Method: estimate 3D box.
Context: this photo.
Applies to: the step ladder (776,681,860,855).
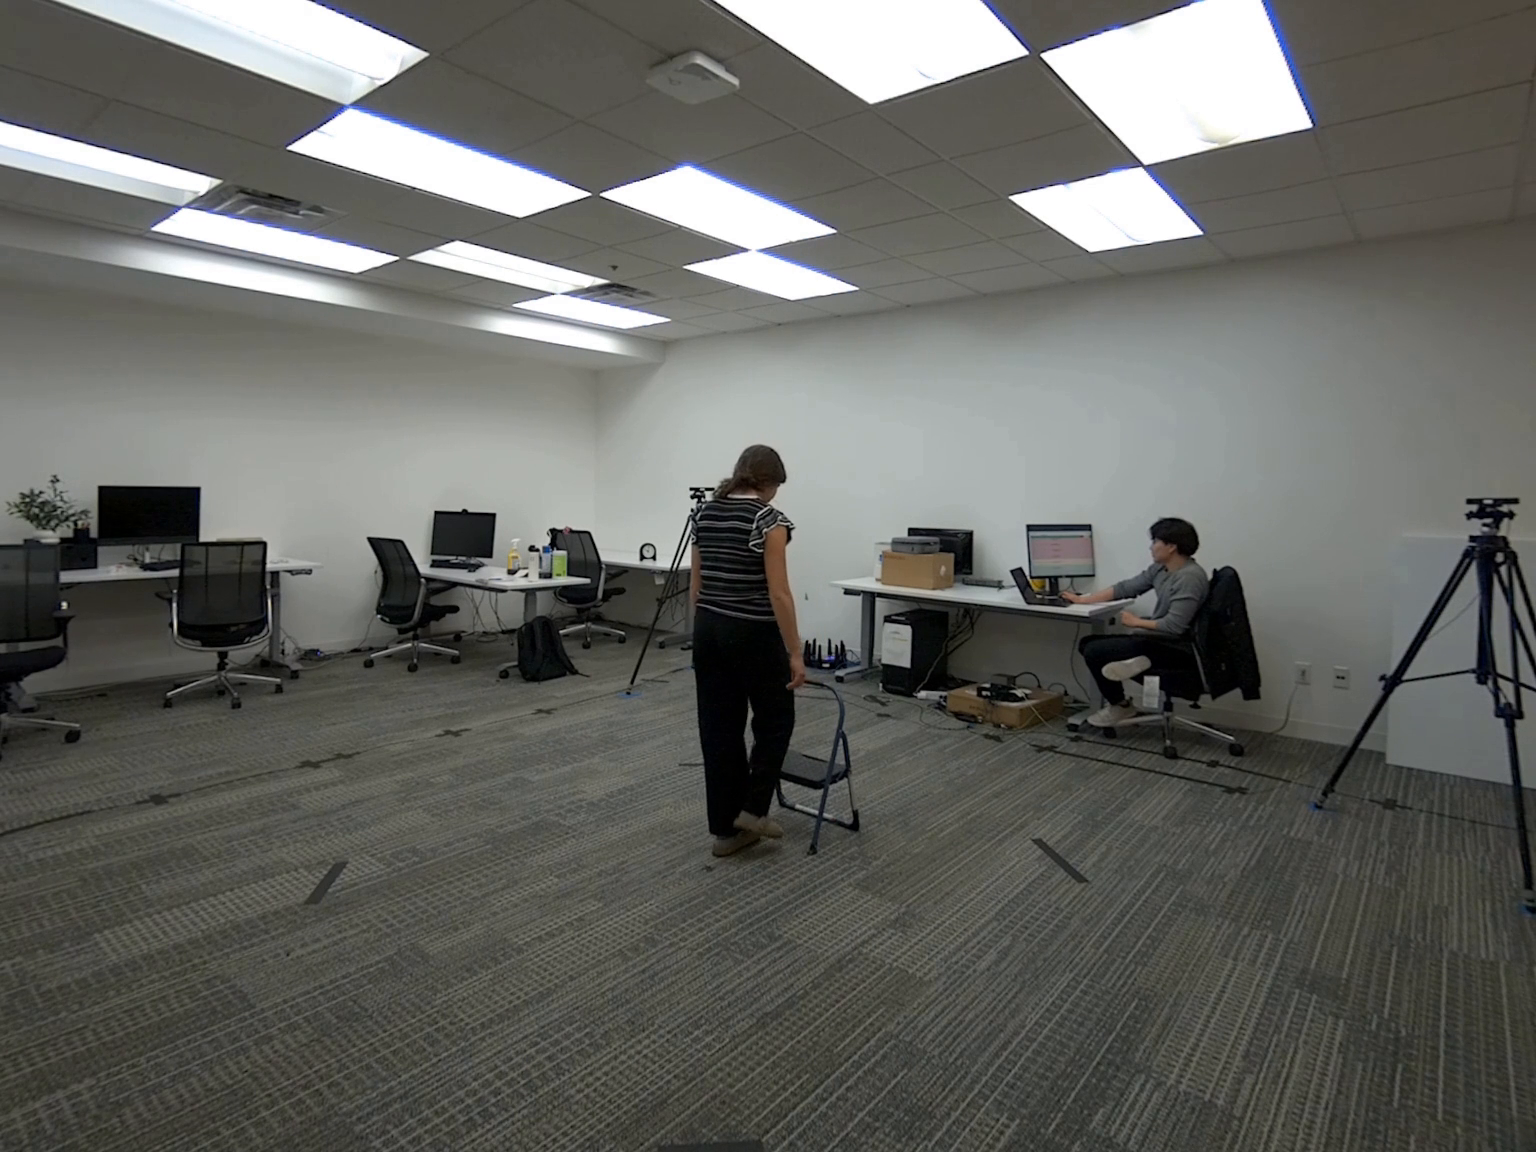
[{"bbox_3d":[0.113,0.733,3.494,0.445,0.604,0.339,5,5,40],"label":"step ladder"}]
